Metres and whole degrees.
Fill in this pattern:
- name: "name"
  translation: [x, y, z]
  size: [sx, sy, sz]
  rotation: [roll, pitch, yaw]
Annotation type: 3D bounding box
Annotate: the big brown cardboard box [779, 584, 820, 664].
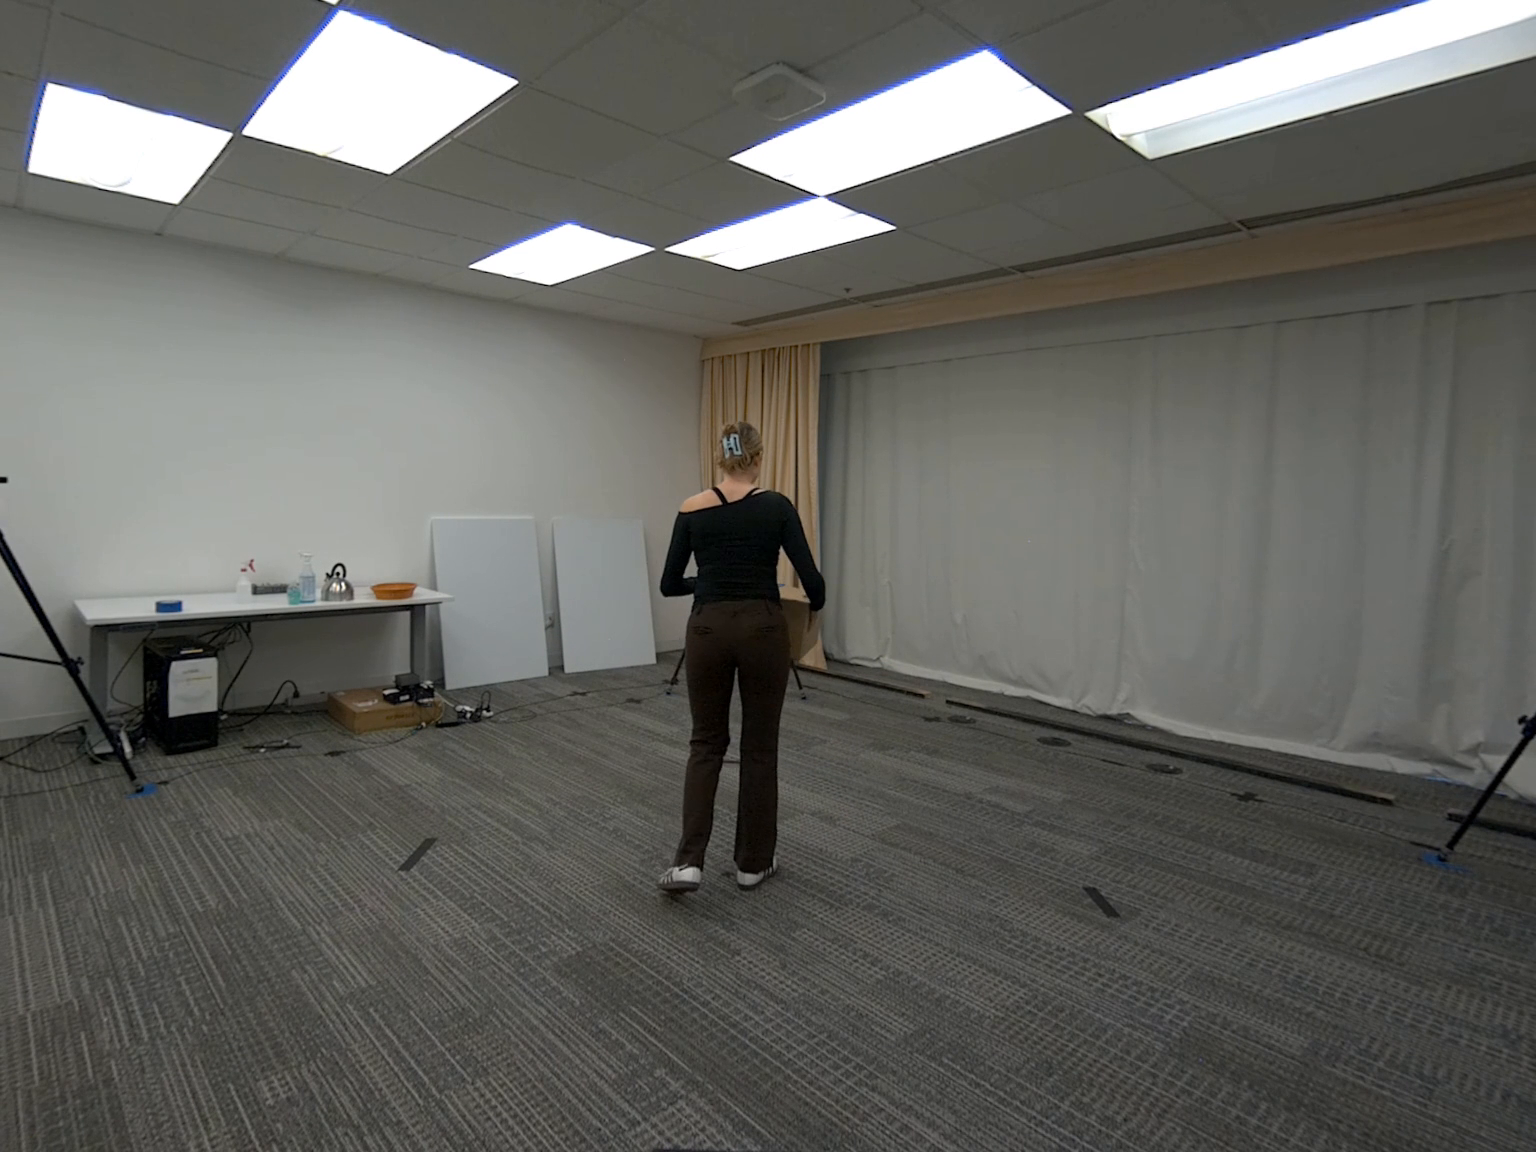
- name: "big brown cardboard box"
  translation: [-0.024, 0.167, 3.381]
  size: [0.422, 0.232, 0.584]
  rotation: [9, 4, 11]
